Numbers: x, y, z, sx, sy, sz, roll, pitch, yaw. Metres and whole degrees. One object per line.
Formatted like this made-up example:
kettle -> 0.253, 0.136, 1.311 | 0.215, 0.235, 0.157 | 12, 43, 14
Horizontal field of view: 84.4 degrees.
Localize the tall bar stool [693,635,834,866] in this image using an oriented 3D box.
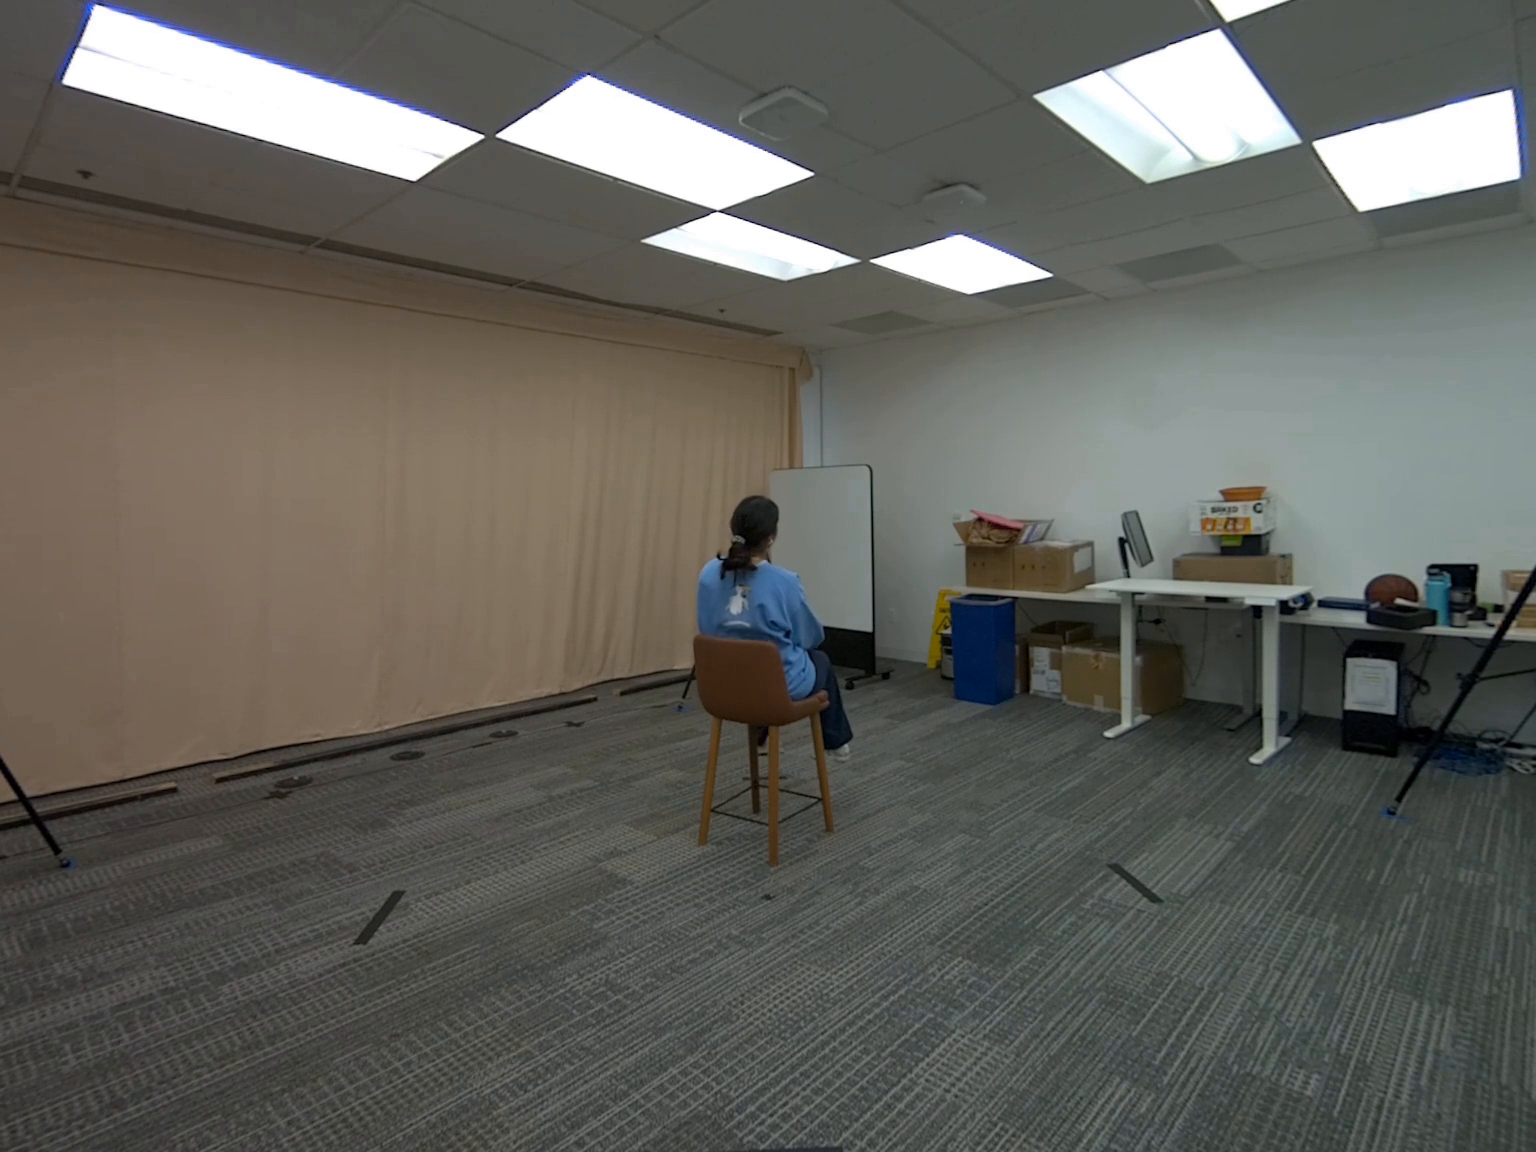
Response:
tall bar stool -> -0.021, 0.661, 3.497 | 0.471, 0.887, 0.454 | 1, 6, 35
